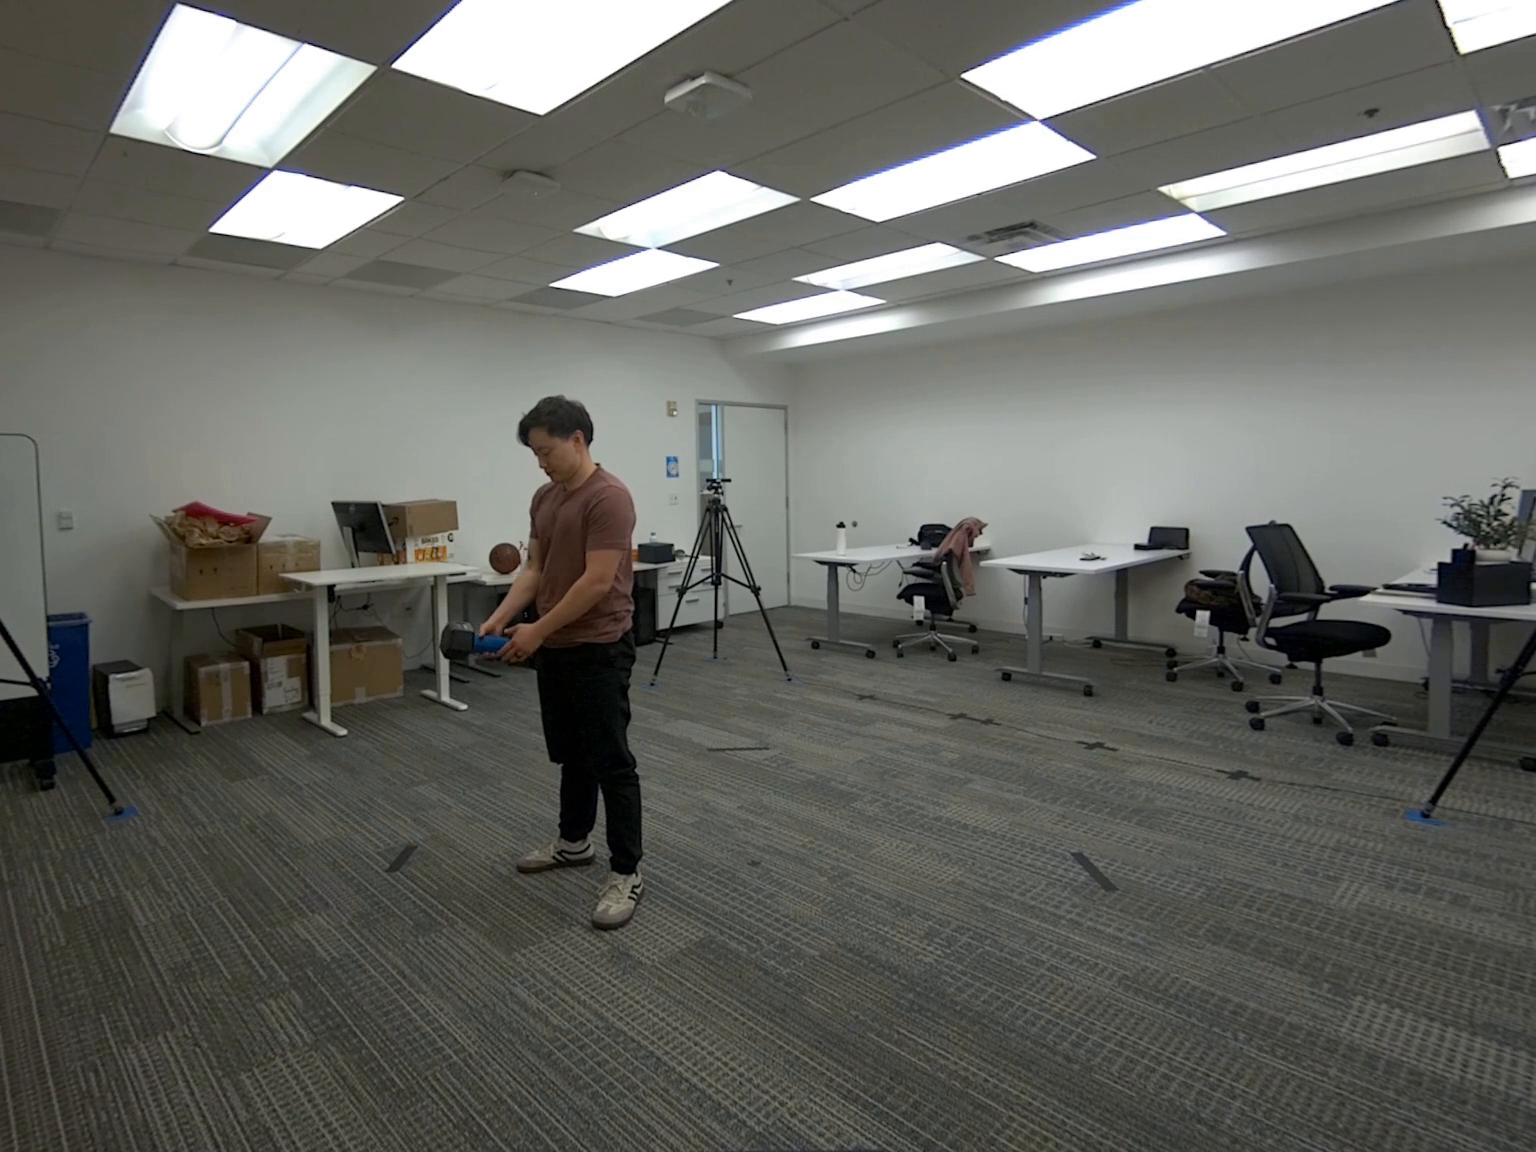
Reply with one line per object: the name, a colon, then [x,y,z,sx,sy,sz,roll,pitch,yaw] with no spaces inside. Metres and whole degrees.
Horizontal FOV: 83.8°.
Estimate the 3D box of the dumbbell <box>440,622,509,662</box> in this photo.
dumbbell: [-0.896,0.223,2.772,0.284,0.108,0.127,12,15,-33]
